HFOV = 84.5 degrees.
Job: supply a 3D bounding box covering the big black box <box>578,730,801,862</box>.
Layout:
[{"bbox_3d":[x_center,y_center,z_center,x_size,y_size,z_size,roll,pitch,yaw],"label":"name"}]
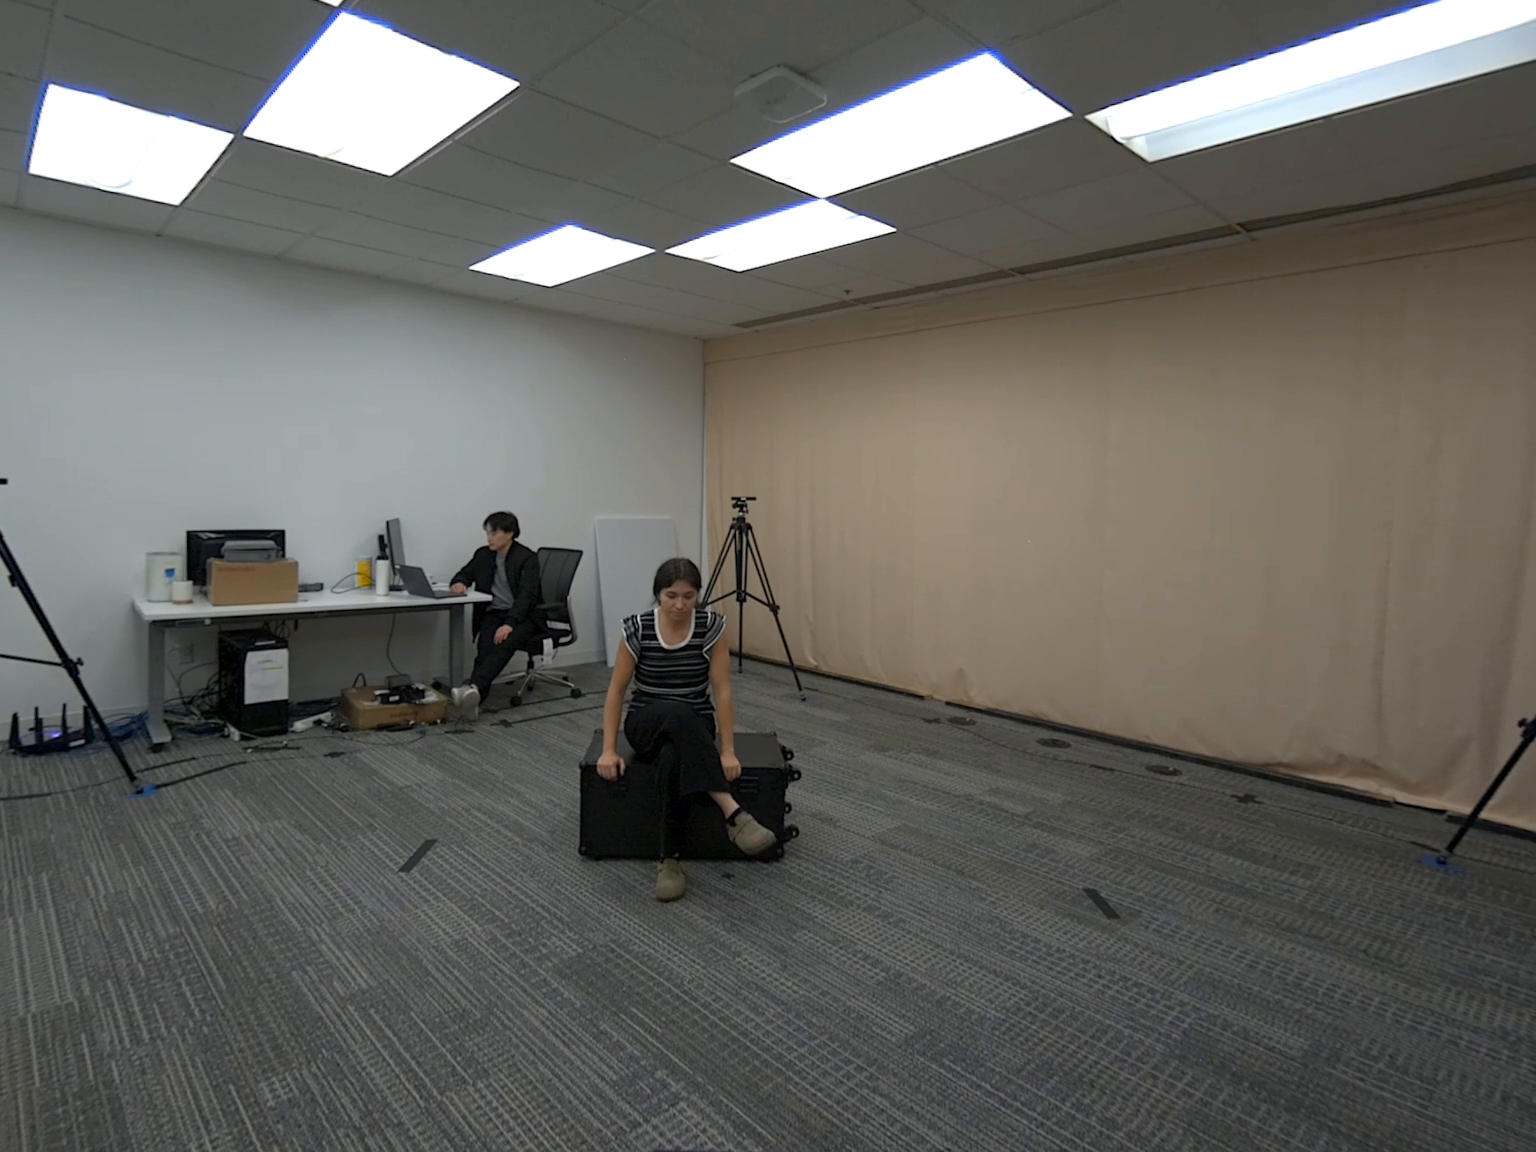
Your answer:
[{"bbox_3d":[-0.315,0.880,3.431,0.859,0.395,0.524,1,5,-4],"label":"big black box"}]
